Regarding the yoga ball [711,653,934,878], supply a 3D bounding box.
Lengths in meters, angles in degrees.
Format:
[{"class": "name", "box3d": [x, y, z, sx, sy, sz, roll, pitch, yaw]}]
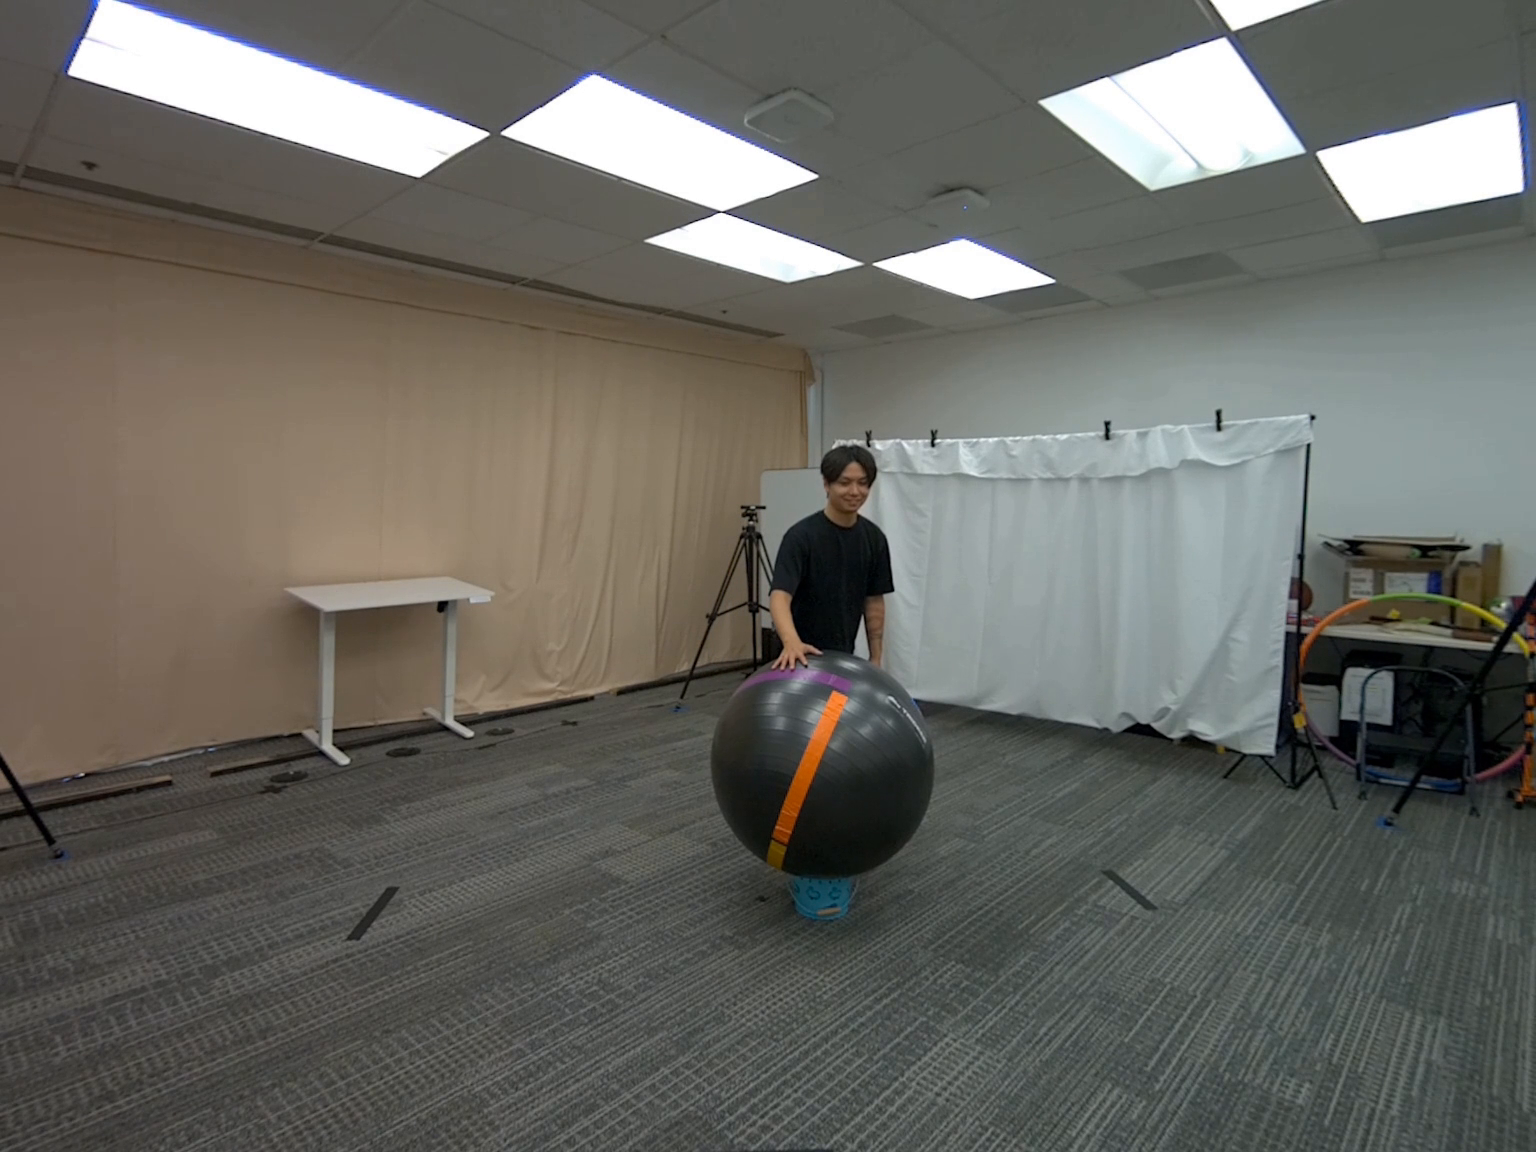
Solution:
[{"class": "yoga ball", "box3d": [0.186, 0.639, 2.888, 0.757, 0.756, 0.760, 0, 4, -2]}]
